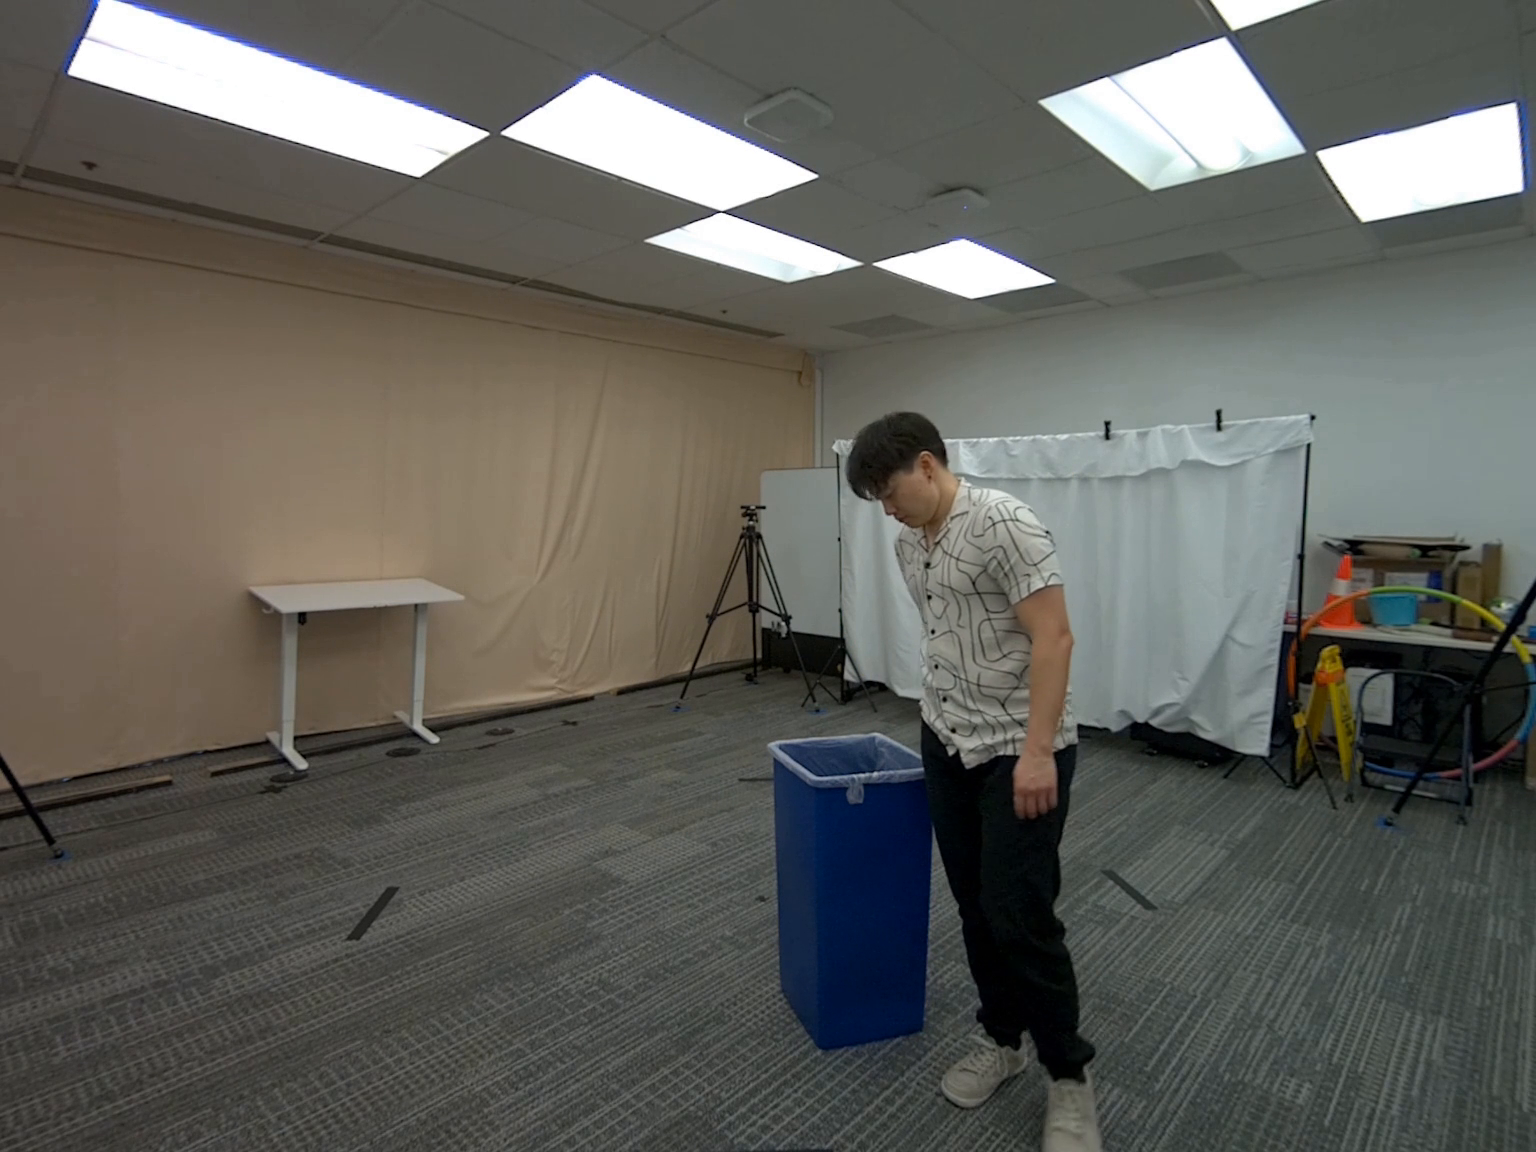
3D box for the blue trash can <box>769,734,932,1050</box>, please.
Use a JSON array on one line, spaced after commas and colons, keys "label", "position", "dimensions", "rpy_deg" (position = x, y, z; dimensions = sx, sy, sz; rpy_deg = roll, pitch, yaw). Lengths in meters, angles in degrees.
[{"label": "blue trash can", "position": [0.223, 0.843, 2.319], "dimensions": [0.371, 0.712, 0.382], "rpy_deg": [-1, 3, -19]}]
